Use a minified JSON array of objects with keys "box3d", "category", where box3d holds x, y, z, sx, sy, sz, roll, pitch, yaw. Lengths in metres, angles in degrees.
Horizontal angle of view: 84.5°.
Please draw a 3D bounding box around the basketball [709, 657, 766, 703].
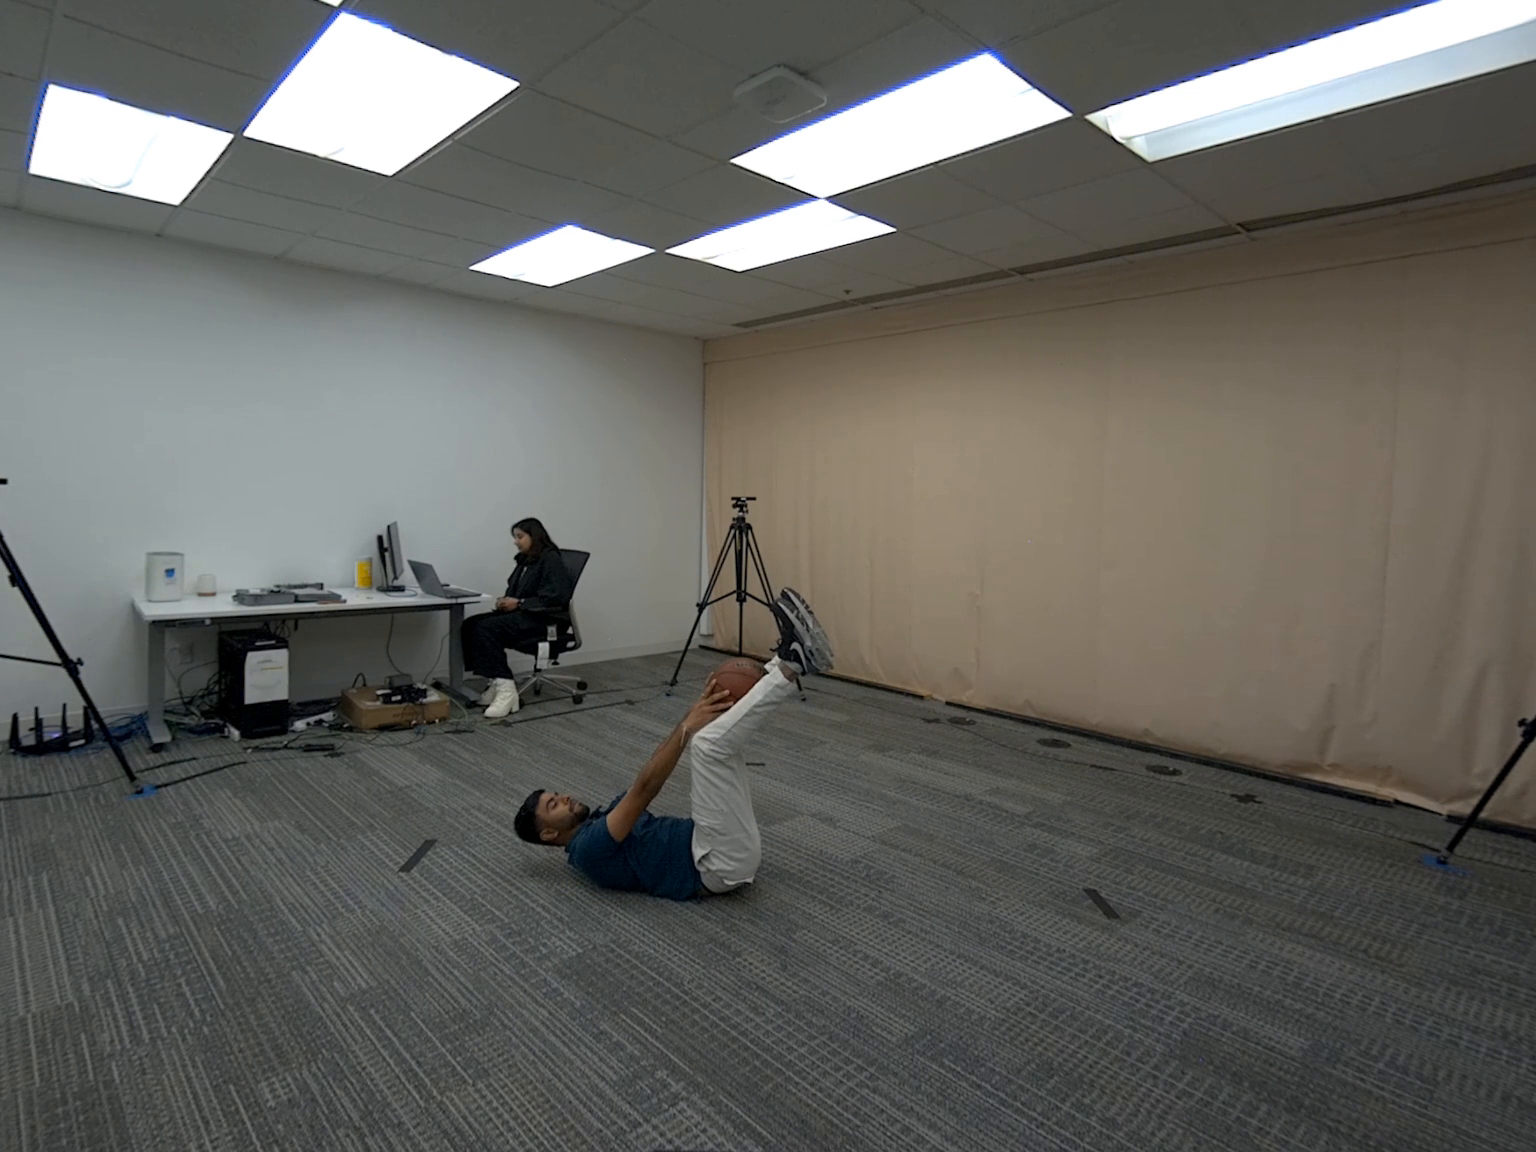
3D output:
[{"box3d":[-0.096,0.407,3.003,0.236,0.235,0.237,1,4,-1],"category":"basketball"}]
